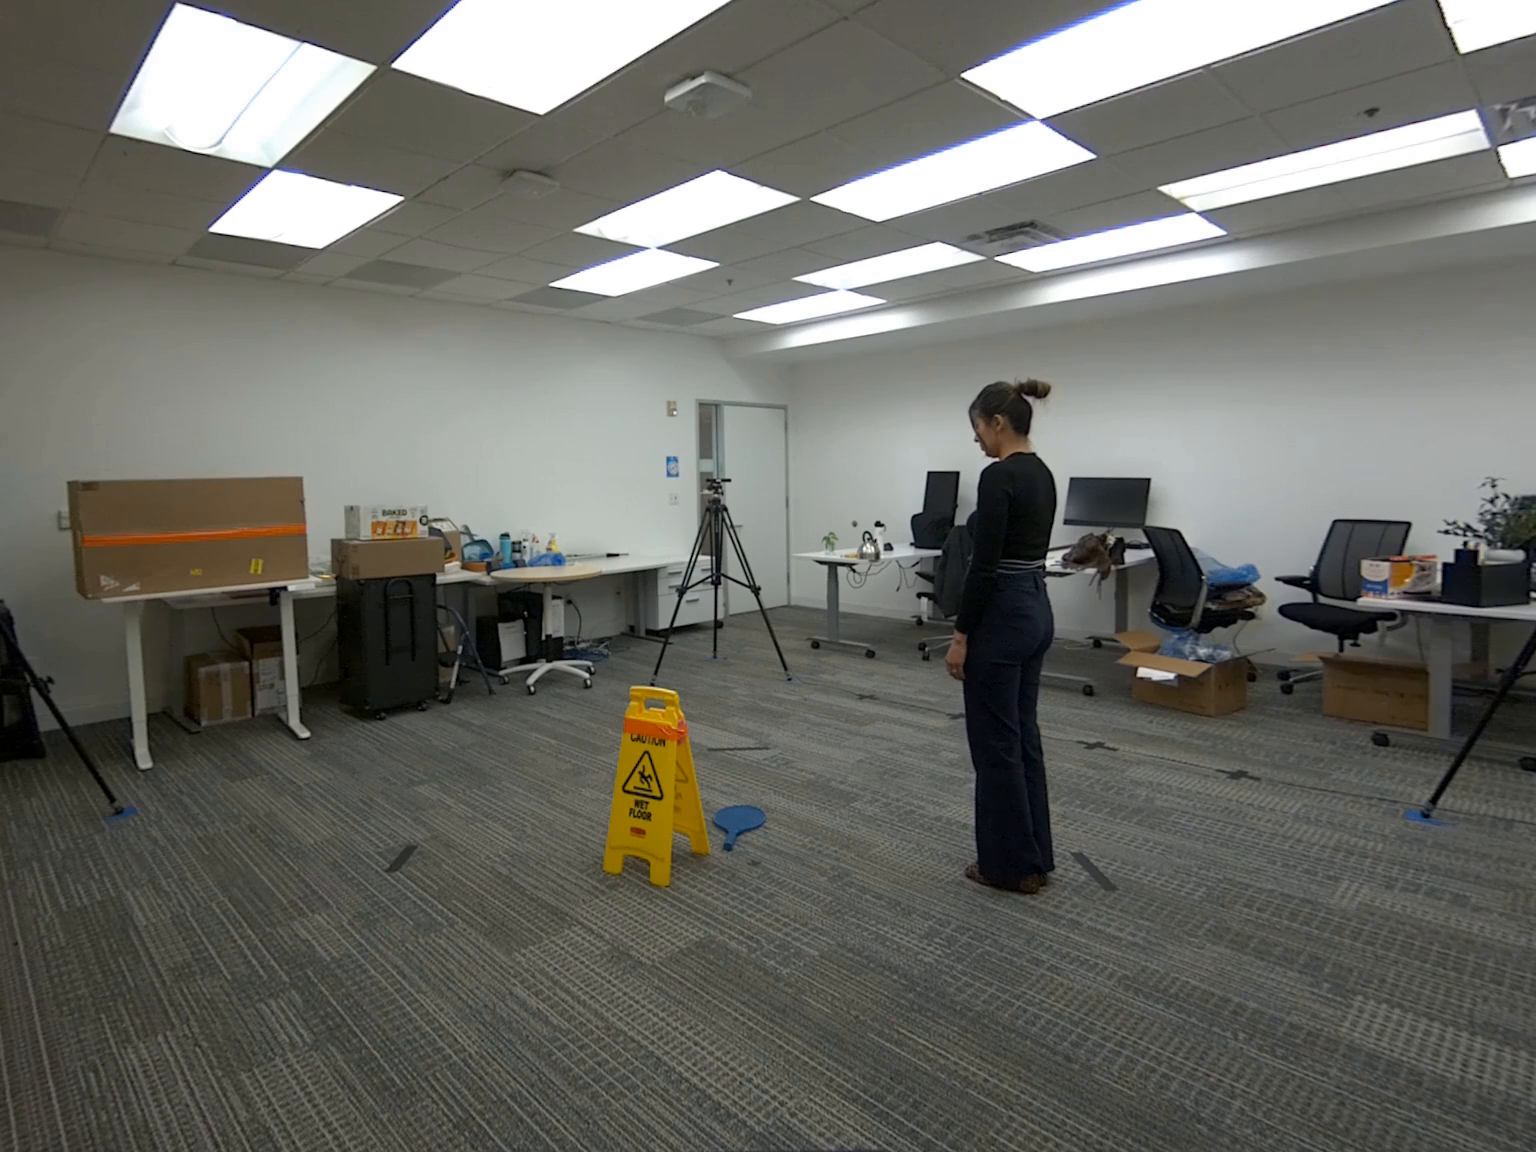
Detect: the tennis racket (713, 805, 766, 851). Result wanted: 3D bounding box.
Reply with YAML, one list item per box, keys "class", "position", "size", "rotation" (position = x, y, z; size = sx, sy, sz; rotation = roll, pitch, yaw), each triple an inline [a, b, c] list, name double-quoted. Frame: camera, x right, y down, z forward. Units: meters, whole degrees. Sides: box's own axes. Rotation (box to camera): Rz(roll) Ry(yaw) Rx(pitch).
- class: "tennis racket"
  position: [-0.123, 0.994, 3.422]
  size: [0.215, 0.031, 0.431]
  rotation: [0, 5, 6]
